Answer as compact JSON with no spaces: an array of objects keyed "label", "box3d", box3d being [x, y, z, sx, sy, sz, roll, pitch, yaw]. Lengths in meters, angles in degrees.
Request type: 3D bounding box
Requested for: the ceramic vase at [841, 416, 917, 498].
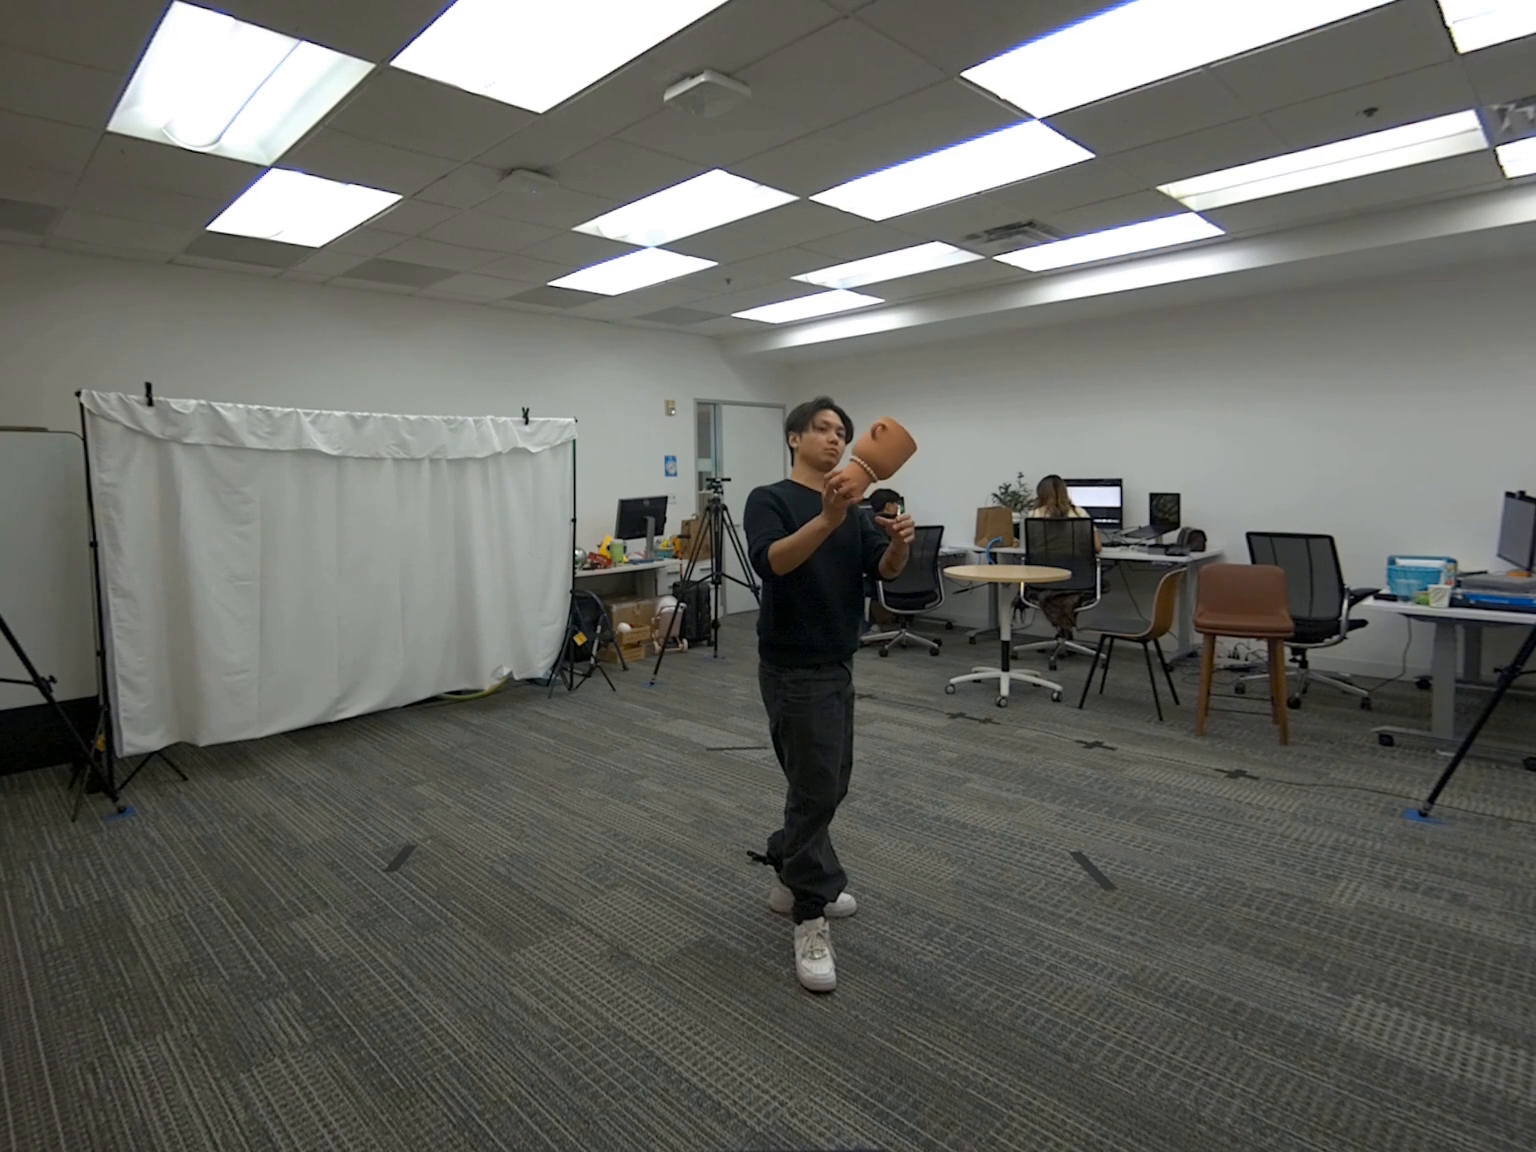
[{"label":"ceramic vase","box3d":[0.284,-0.298,2.268,0.220,0.156,0.137,-47,13,-5]}]
